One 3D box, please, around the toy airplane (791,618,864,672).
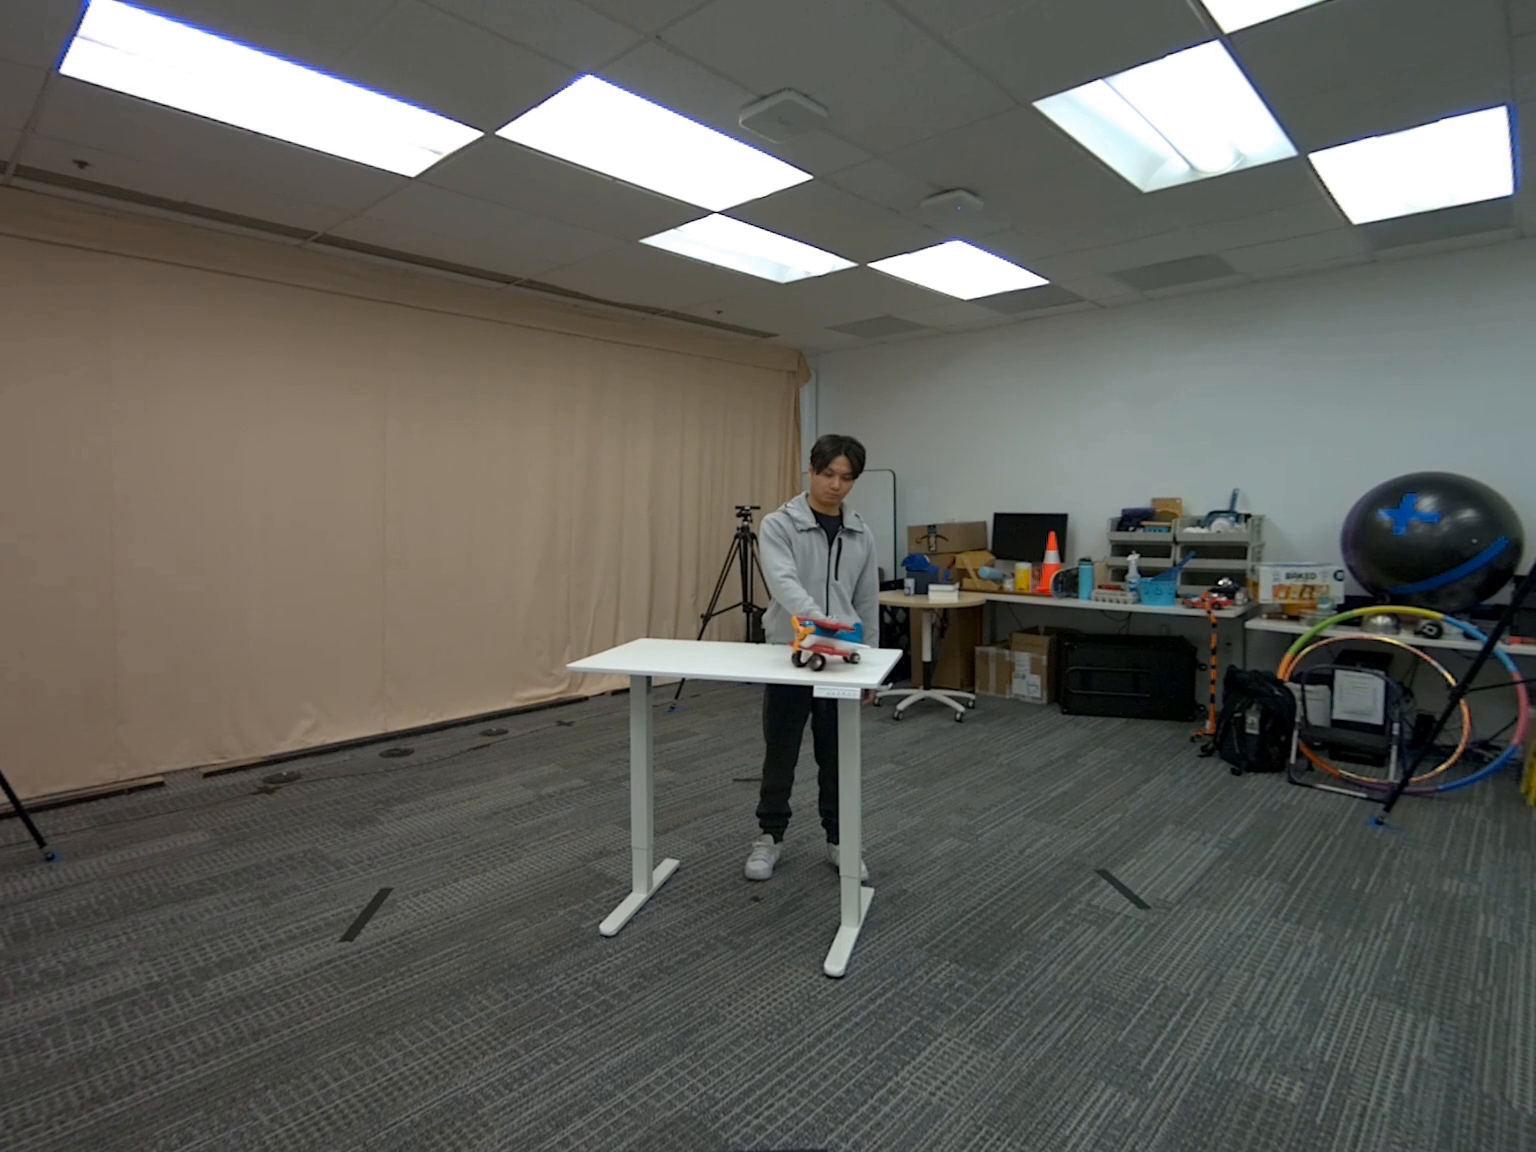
[{"bbox_3d":[0.181,0.207,2.675,0.258,0.156,0.253,2,6,29],"label":"toy airplane"}]
